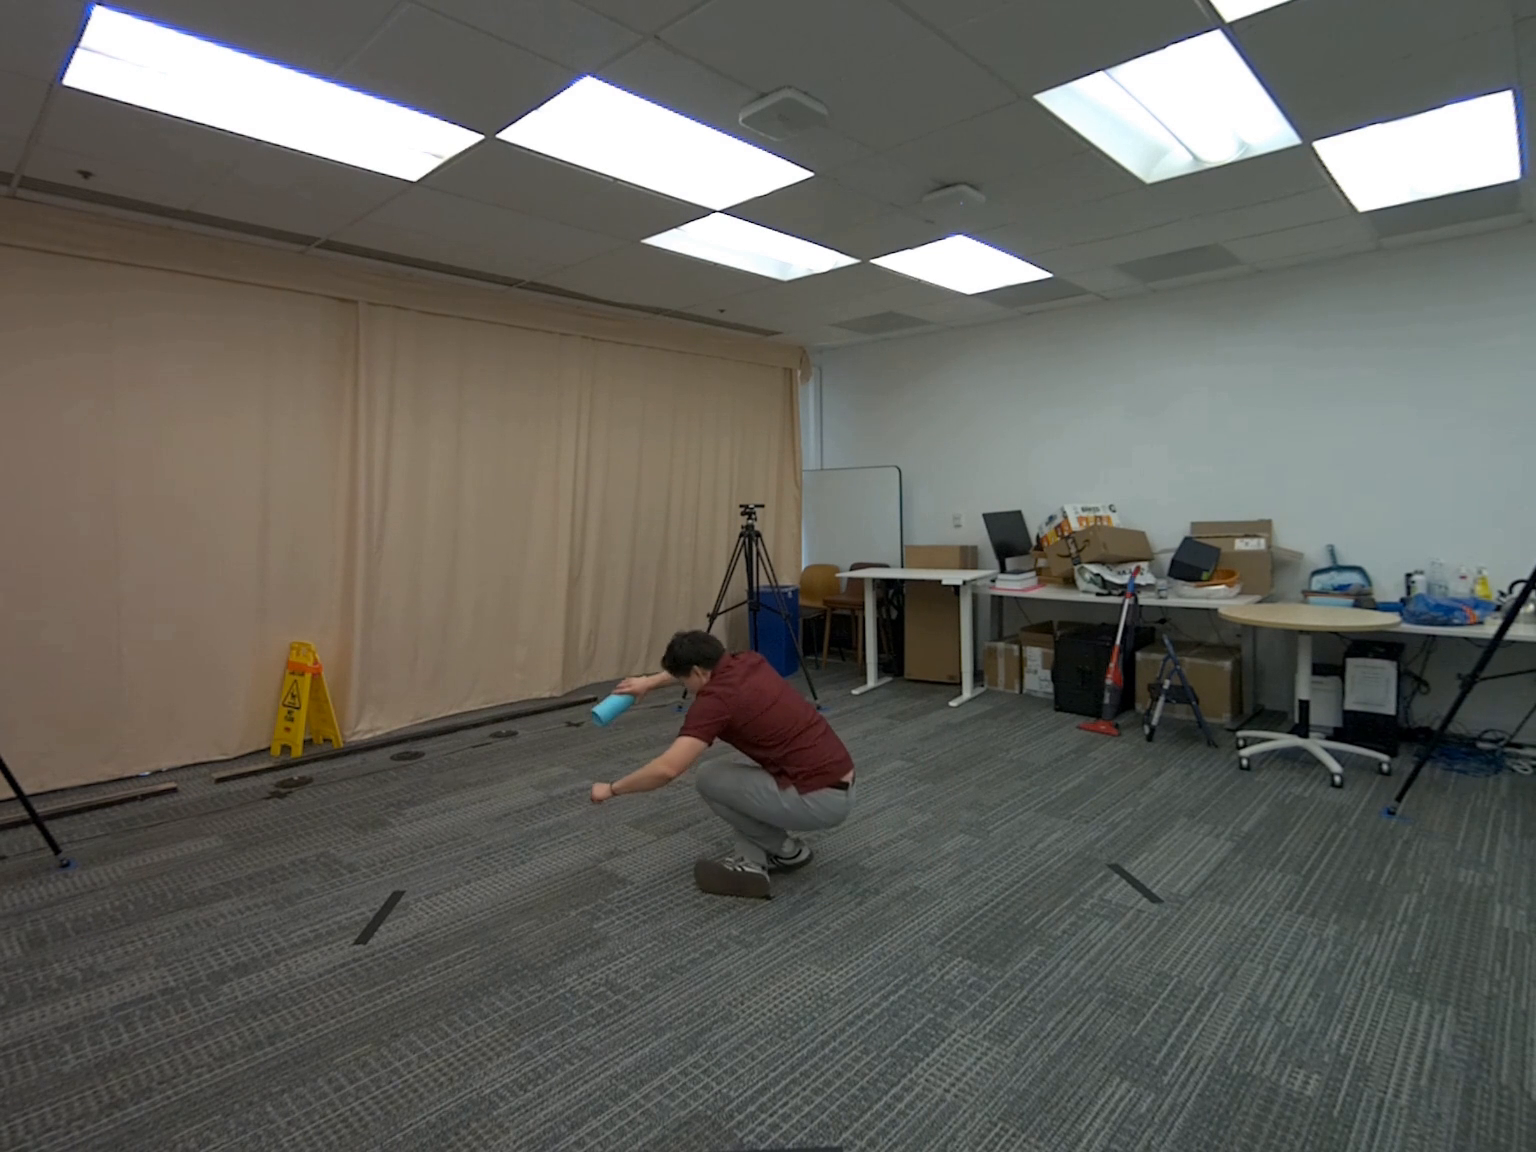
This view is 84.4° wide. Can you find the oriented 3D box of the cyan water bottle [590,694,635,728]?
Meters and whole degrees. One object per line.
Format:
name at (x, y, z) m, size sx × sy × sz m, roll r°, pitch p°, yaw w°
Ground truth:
cyan water bottle at (-0.610, 0.537, 3.547) m, size 0.095 × 0.091 × 0.279 m, roll 3°, pitch 29°, yaw 47°
